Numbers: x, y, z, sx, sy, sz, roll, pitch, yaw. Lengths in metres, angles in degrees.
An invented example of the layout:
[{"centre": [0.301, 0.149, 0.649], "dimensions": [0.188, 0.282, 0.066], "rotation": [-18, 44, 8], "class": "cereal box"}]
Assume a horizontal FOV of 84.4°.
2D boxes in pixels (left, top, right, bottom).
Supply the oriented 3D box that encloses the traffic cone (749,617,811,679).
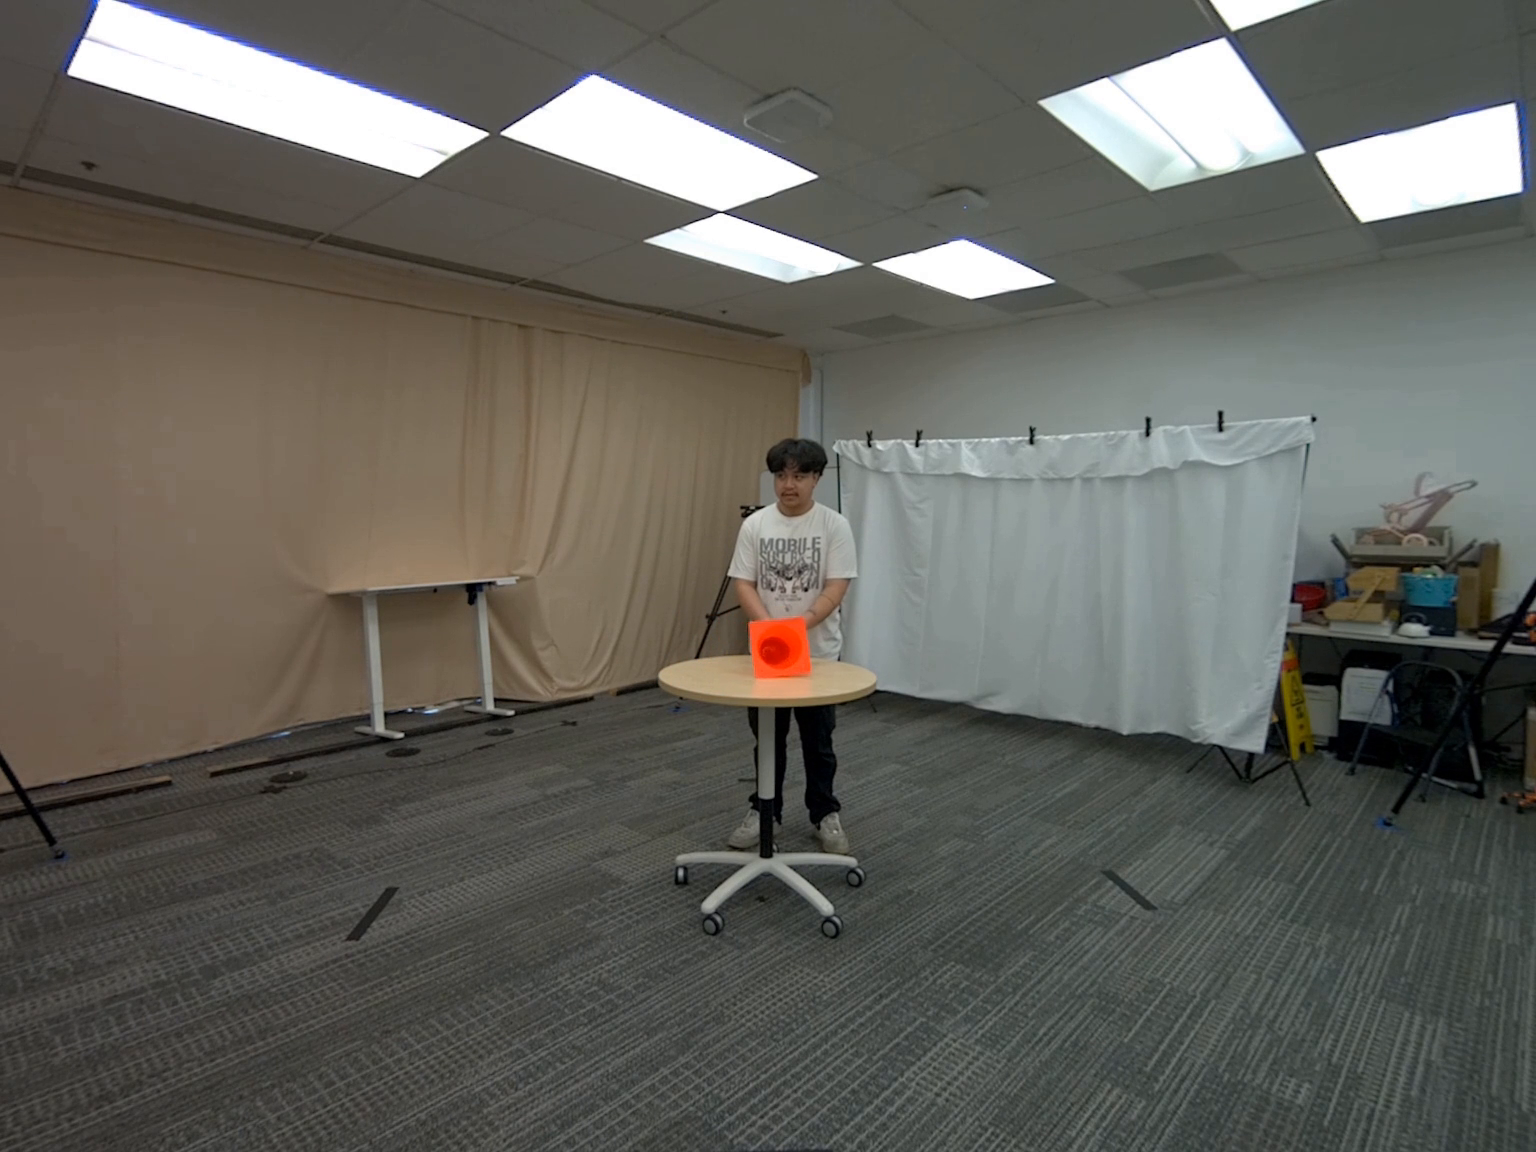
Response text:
[{"centre": [0.021, 0.283, 3.121], "dimensions": [0.203, 0.206, 0.382], "rotation": [-3, -8, -4], "class": "traffic cone"}]
